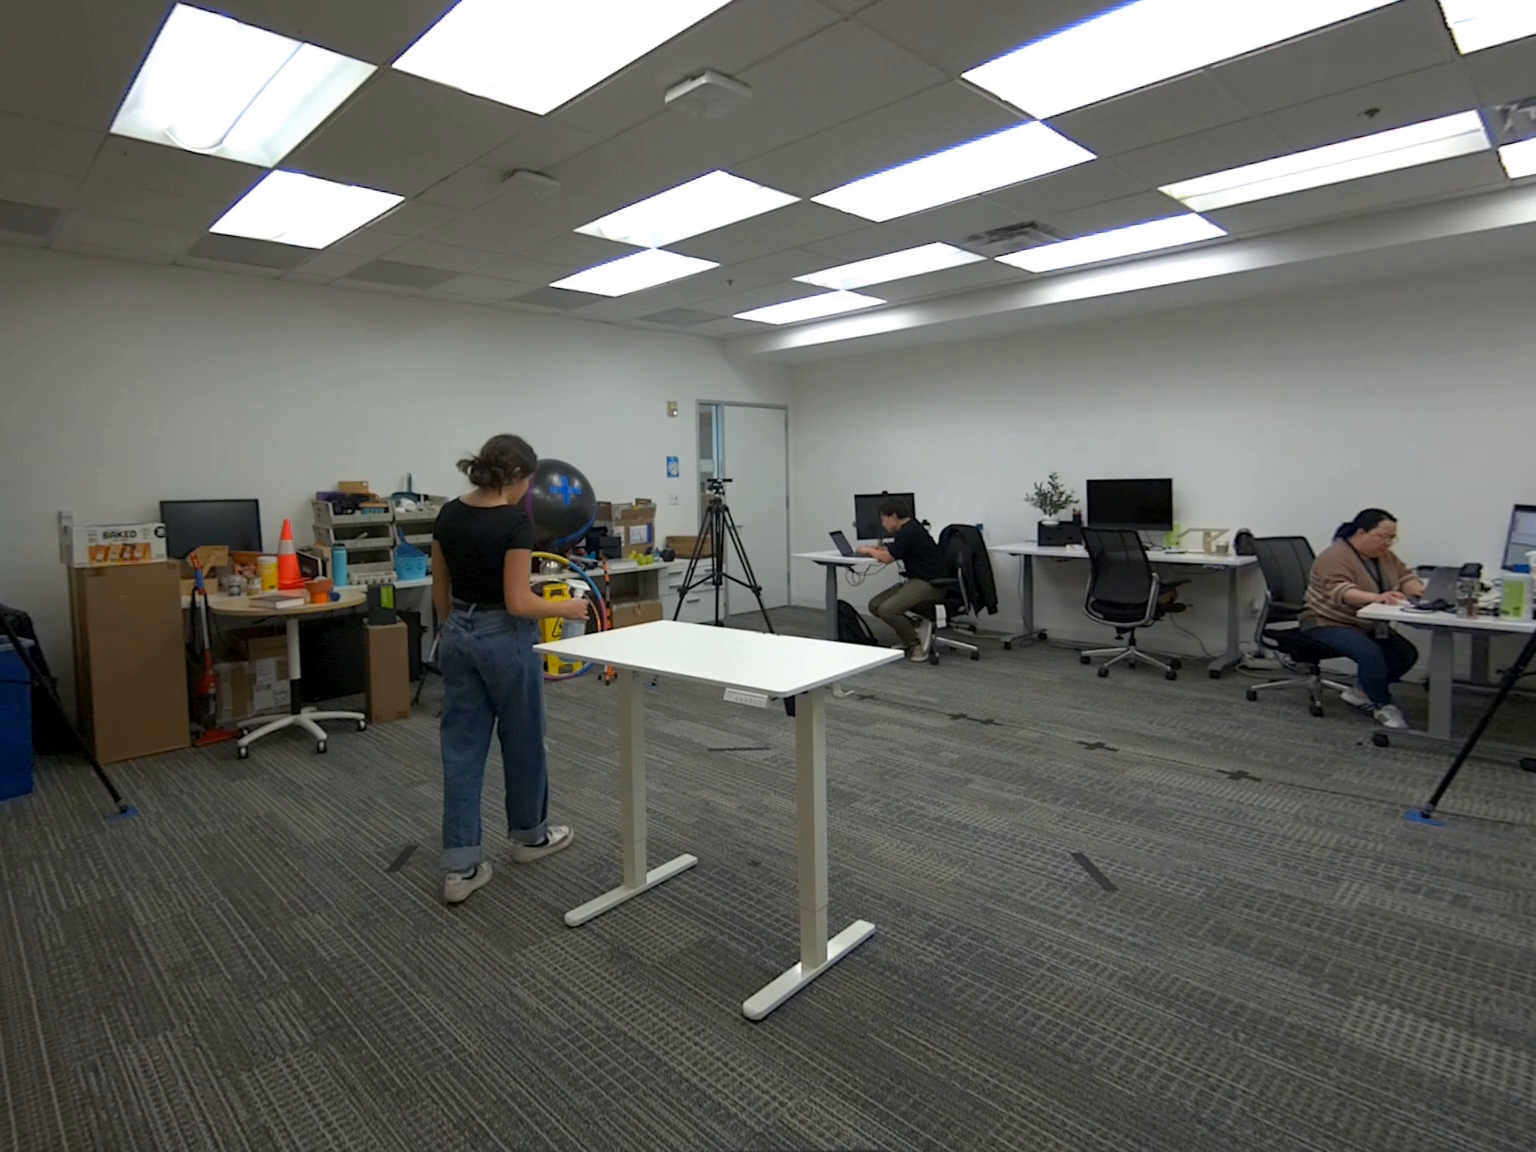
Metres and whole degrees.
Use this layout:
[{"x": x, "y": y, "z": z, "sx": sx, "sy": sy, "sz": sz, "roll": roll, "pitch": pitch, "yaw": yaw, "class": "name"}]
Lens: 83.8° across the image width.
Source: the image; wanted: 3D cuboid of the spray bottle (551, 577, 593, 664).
[{"x": -0.717, "y": 0.159, "z": 3.124, "sx": 0.091, "sy": 0.298, "sz": 0.086, "roll": 5, "pitch": -3, "yaw": 9, "class": "spray bottle"}]
